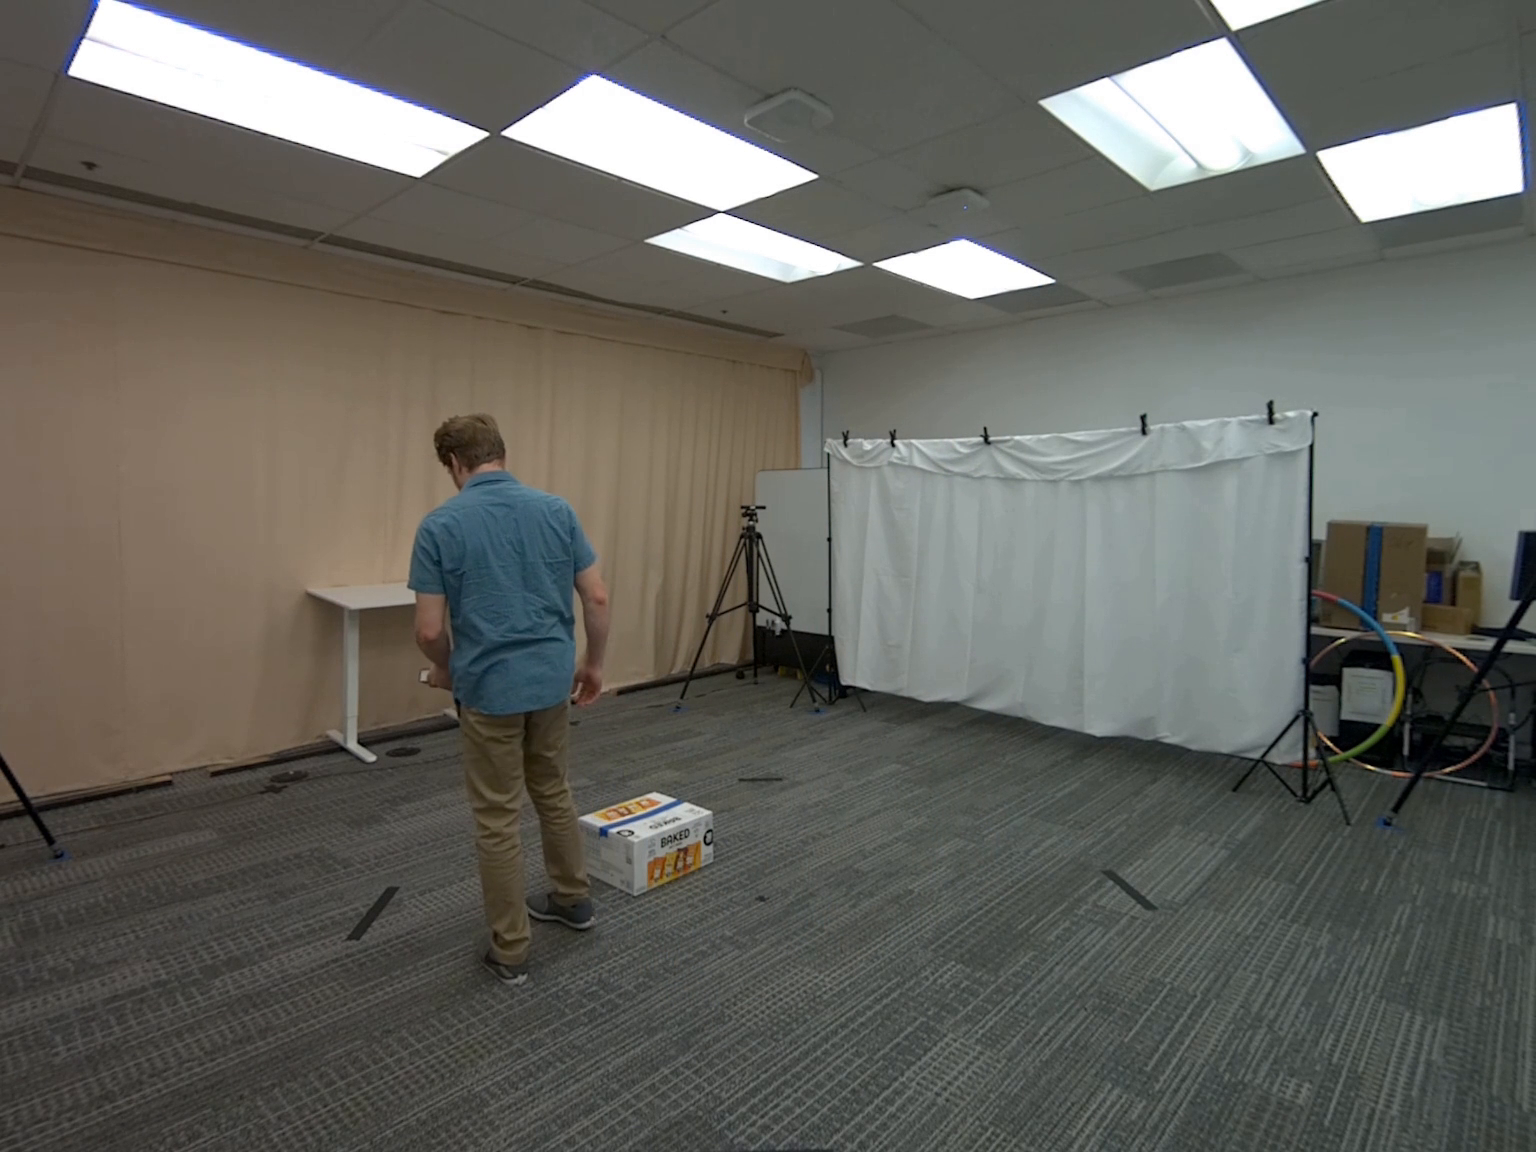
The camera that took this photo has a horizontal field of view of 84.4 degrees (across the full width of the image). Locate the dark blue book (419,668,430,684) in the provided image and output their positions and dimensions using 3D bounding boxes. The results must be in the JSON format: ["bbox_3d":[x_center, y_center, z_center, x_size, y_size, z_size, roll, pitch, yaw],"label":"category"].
[{"bbox_3d":[-1.029,0.353,2.774,0.166,0.046,0.238,-3,-19,15],"label":"dark blue book"}]
